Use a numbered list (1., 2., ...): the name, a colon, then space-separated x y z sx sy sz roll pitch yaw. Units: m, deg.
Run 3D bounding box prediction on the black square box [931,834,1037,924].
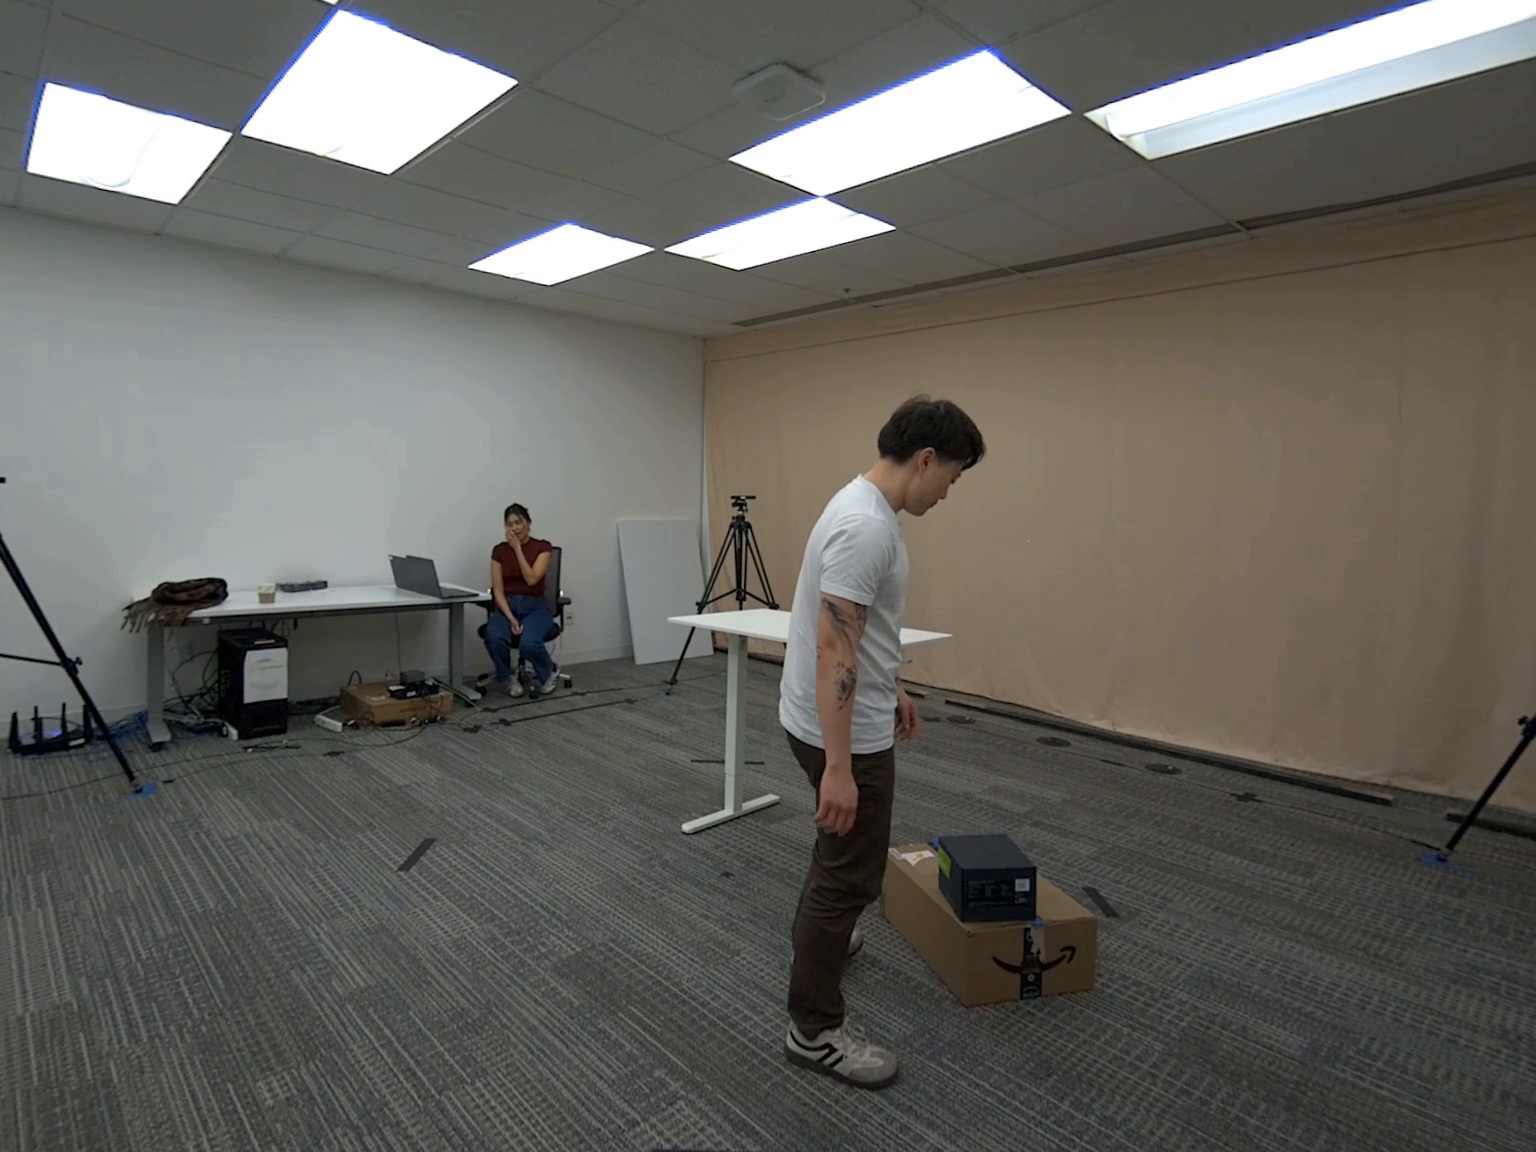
1. black square box: 0.627 0.879 2.467 0.216 0.155 0.229 0 5 -3
